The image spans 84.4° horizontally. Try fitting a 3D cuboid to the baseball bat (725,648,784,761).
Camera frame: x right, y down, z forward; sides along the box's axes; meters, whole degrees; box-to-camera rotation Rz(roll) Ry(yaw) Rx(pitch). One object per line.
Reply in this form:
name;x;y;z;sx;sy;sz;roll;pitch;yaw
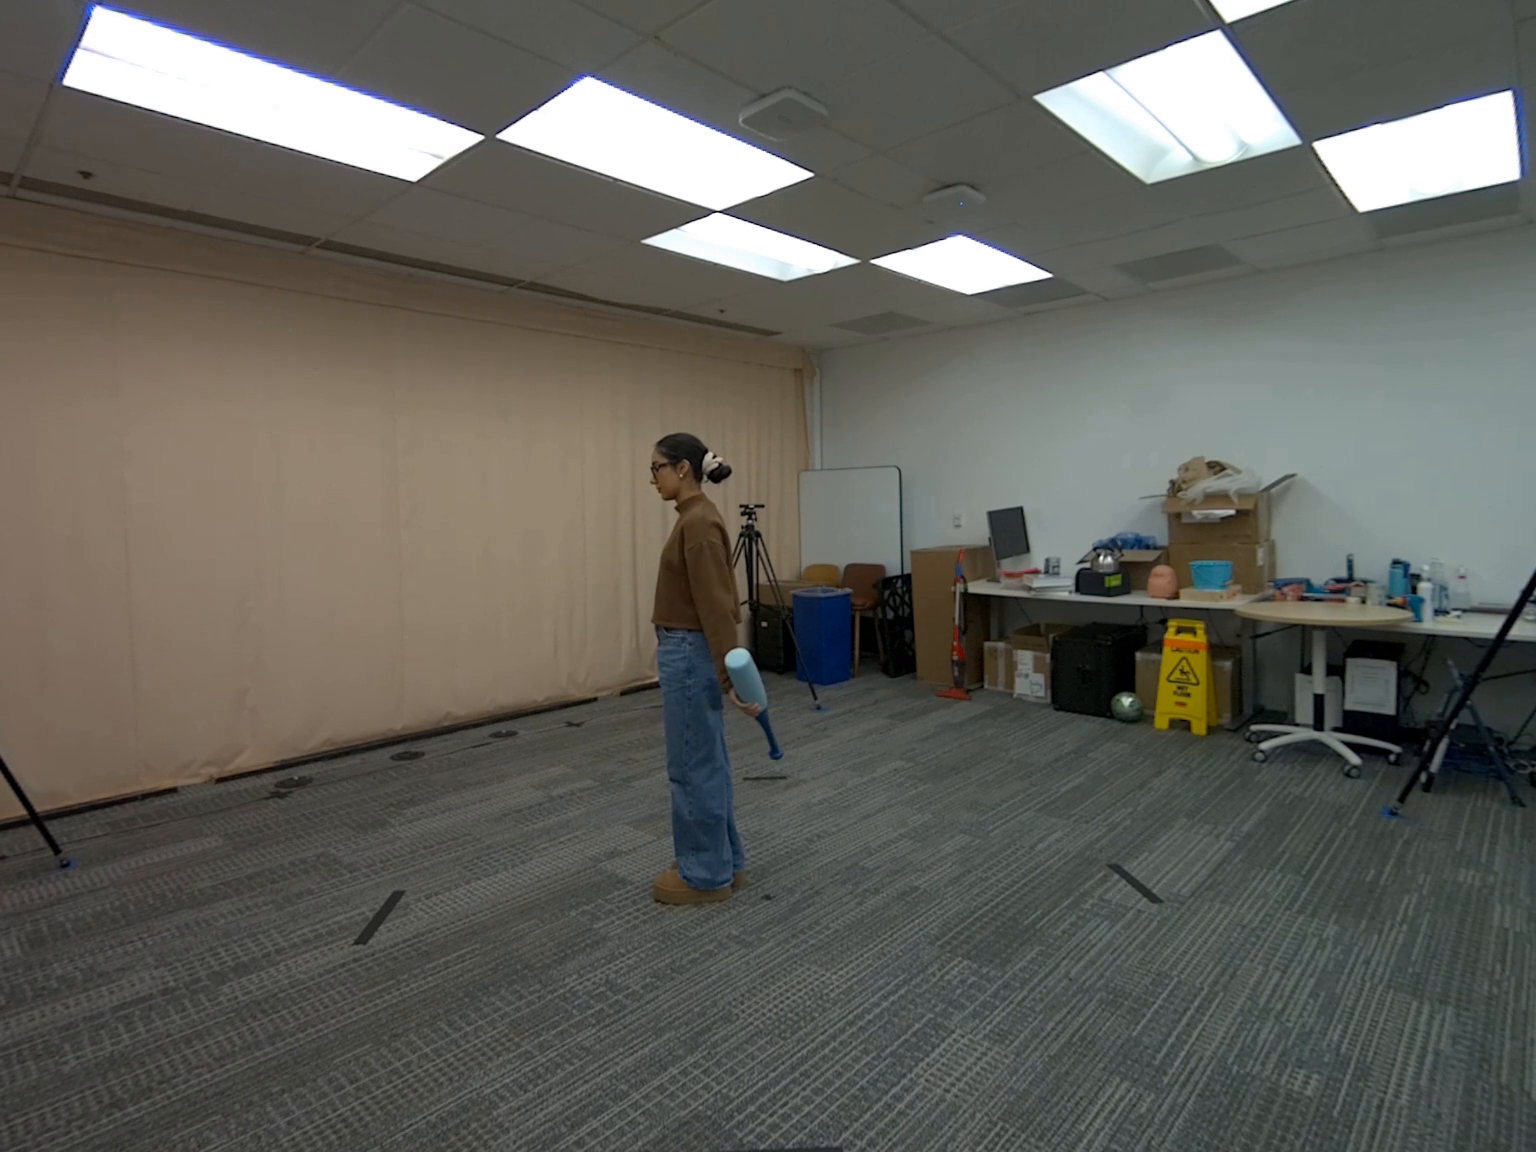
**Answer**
baseball bat;-0.047;0.440;2.773;0.090;0.529;0.091;-9;42;6
